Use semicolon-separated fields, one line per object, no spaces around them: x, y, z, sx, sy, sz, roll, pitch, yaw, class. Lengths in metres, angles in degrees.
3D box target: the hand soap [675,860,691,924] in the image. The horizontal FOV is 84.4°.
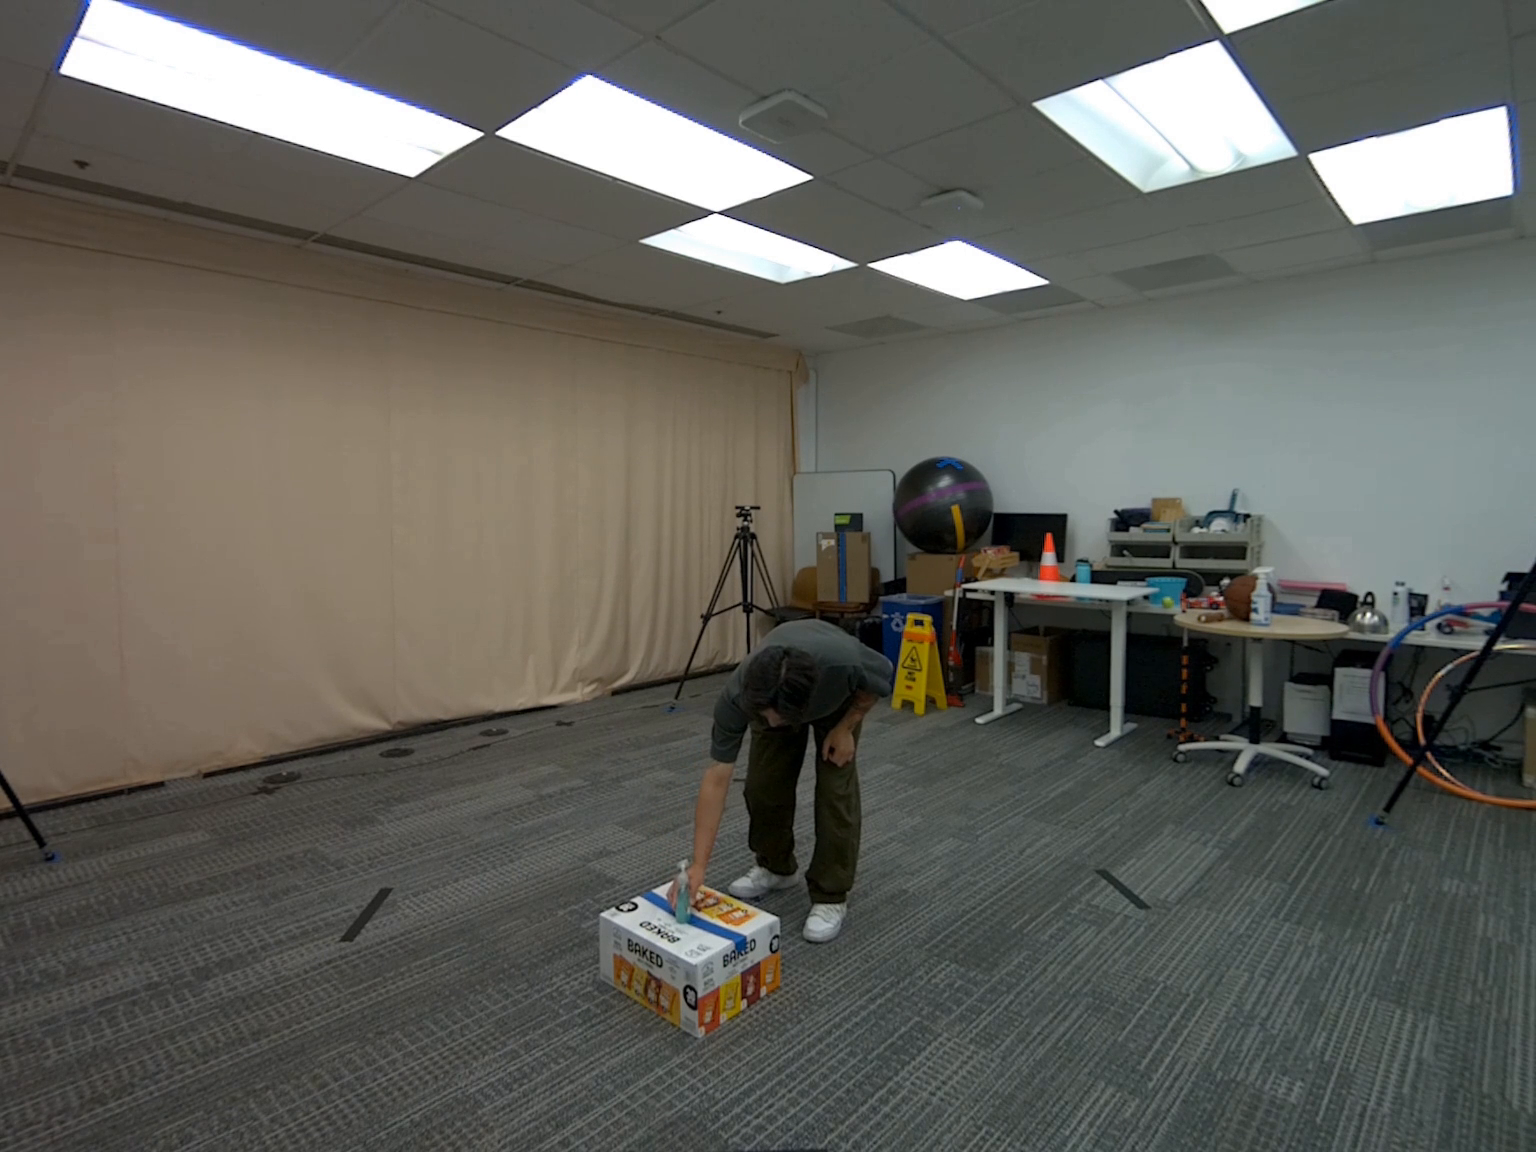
-0.236;0.912;2.443;0.043;0.168;0.084;-9;0;0;hand soap
